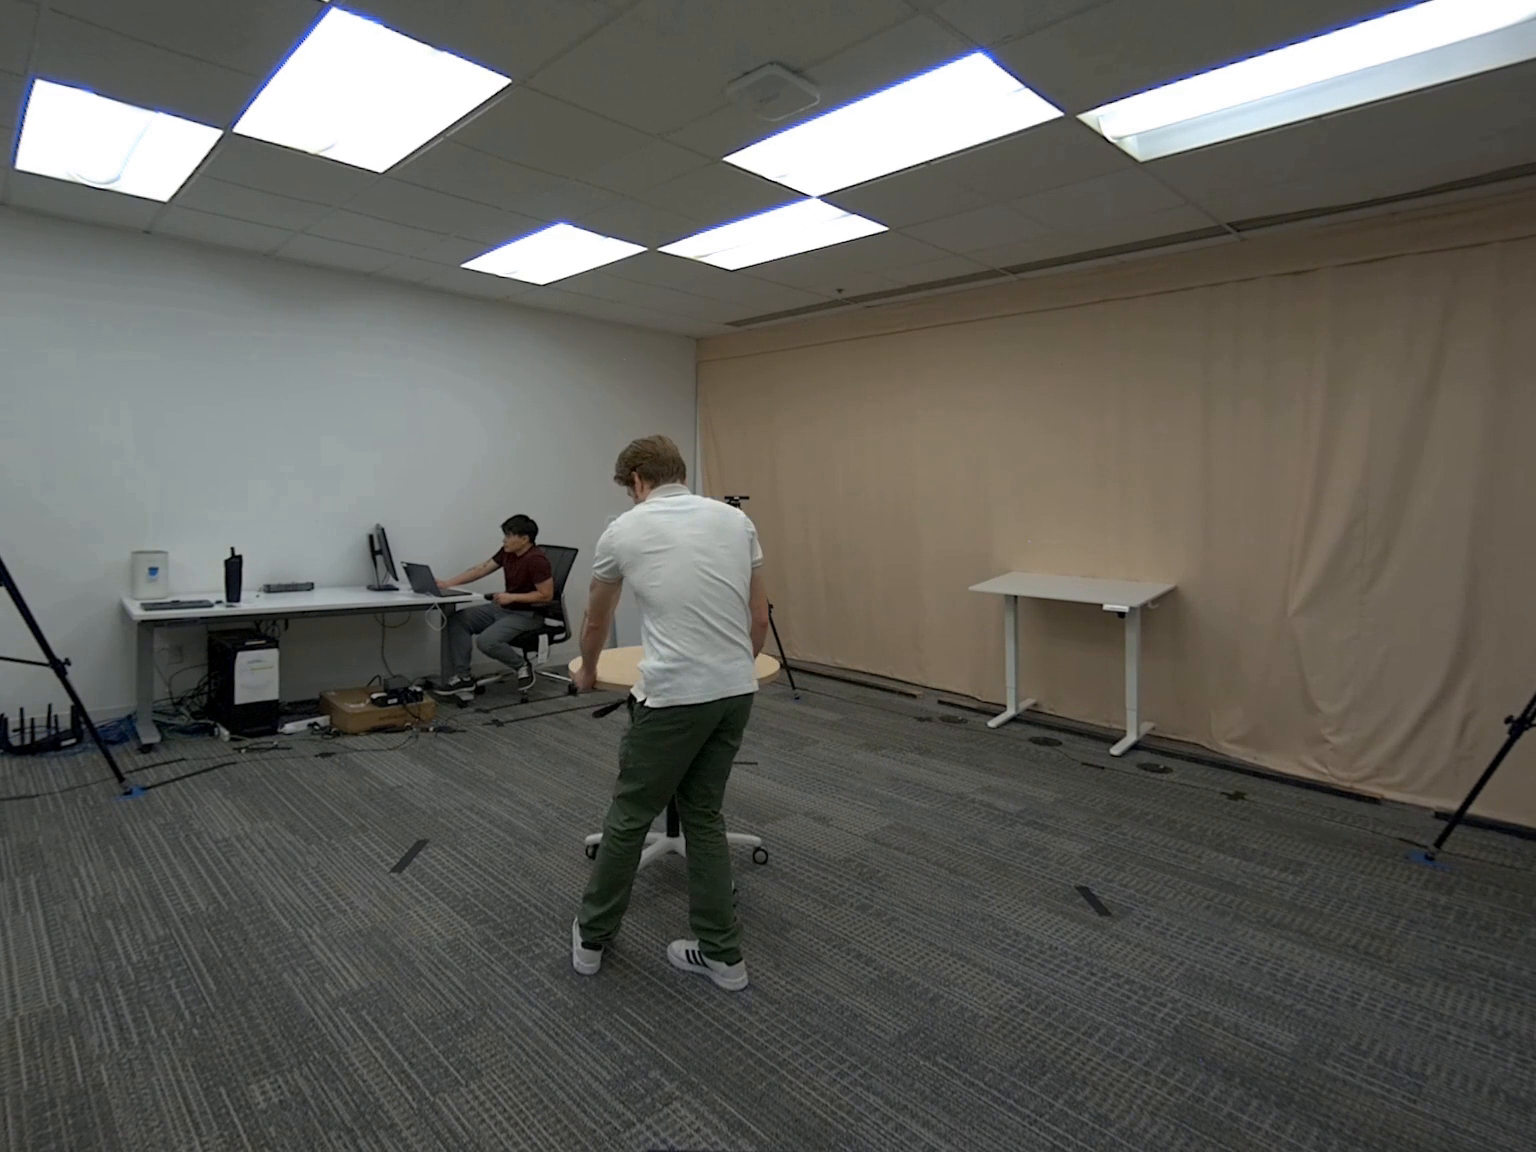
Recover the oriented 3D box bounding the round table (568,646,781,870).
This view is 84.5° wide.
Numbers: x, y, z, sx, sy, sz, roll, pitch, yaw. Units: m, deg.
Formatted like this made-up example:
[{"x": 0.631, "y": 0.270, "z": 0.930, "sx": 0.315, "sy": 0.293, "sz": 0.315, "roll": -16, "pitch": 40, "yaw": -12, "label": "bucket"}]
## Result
[{"x": -0.342, "y": 0.712, "z": 3.079, "sx": 0.784, "sy": 0.784, "sz": 0.788, "roll": 0, "pitch": 4, "yaw": -1, "label": "round table"}]
